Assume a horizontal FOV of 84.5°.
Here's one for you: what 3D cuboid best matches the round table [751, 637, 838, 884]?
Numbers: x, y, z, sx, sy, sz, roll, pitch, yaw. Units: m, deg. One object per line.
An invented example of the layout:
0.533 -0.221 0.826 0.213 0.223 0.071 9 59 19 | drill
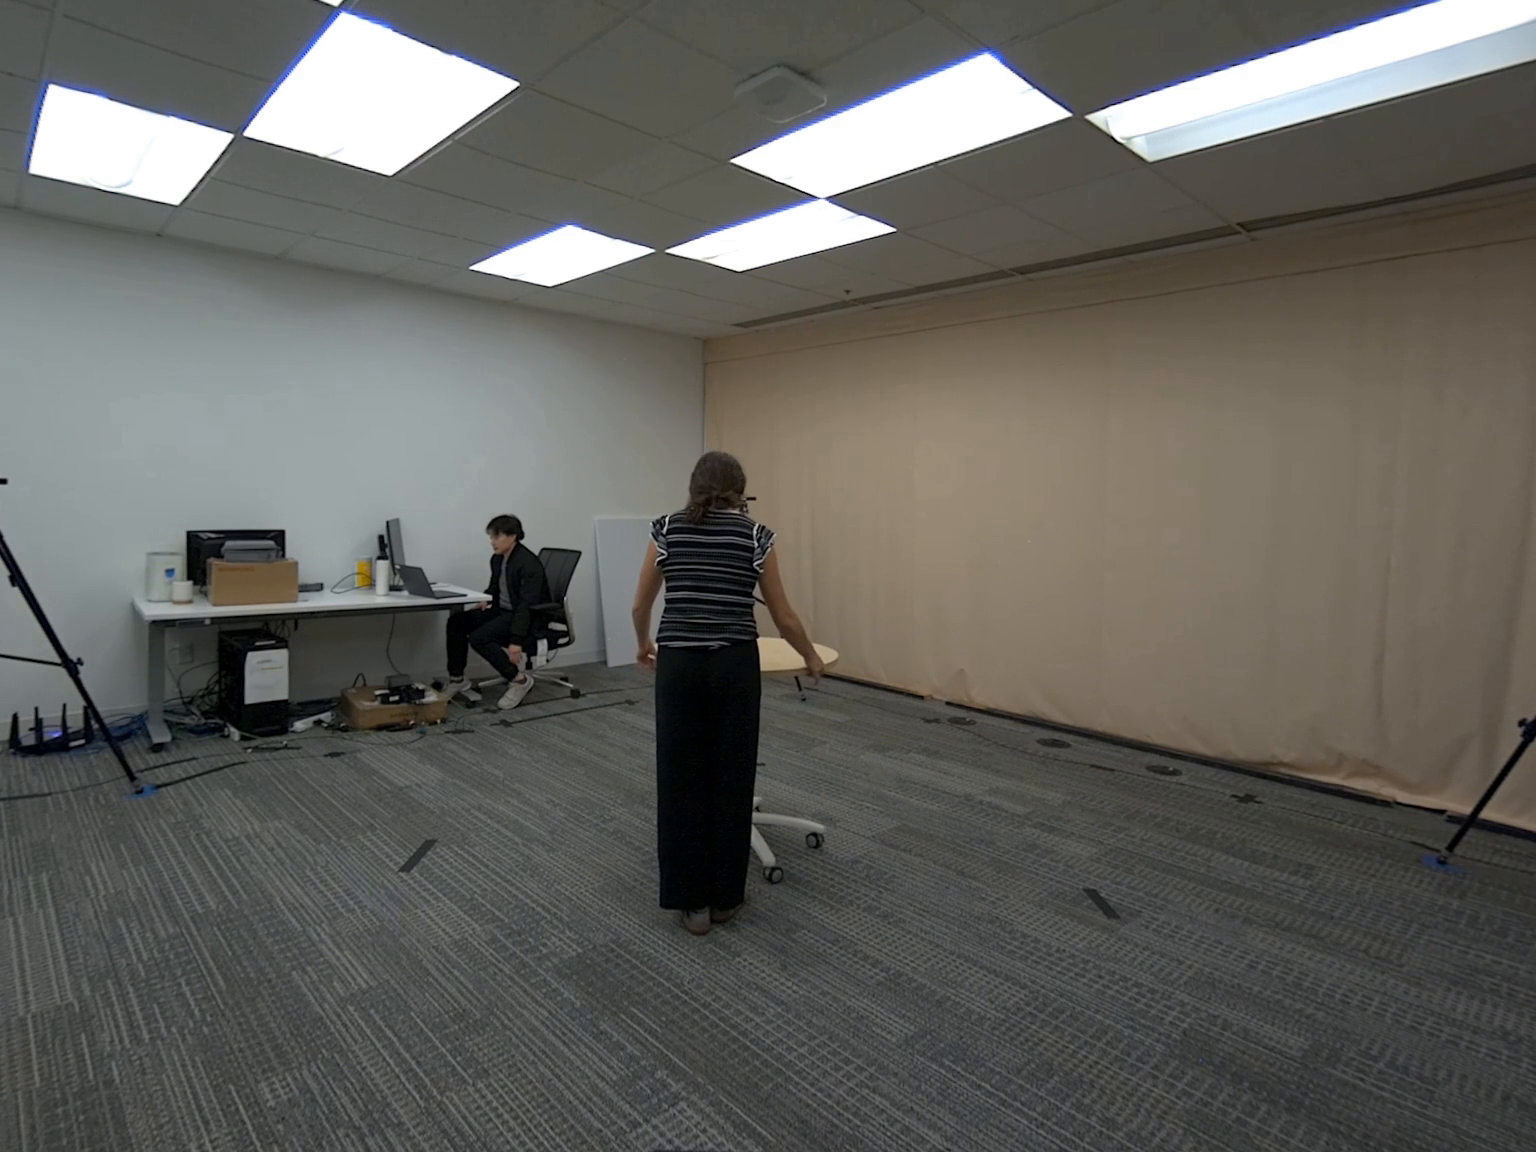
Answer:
-0.113 0.691 3.359 0.784 0.784 0.788 1 4 -1 | round table
